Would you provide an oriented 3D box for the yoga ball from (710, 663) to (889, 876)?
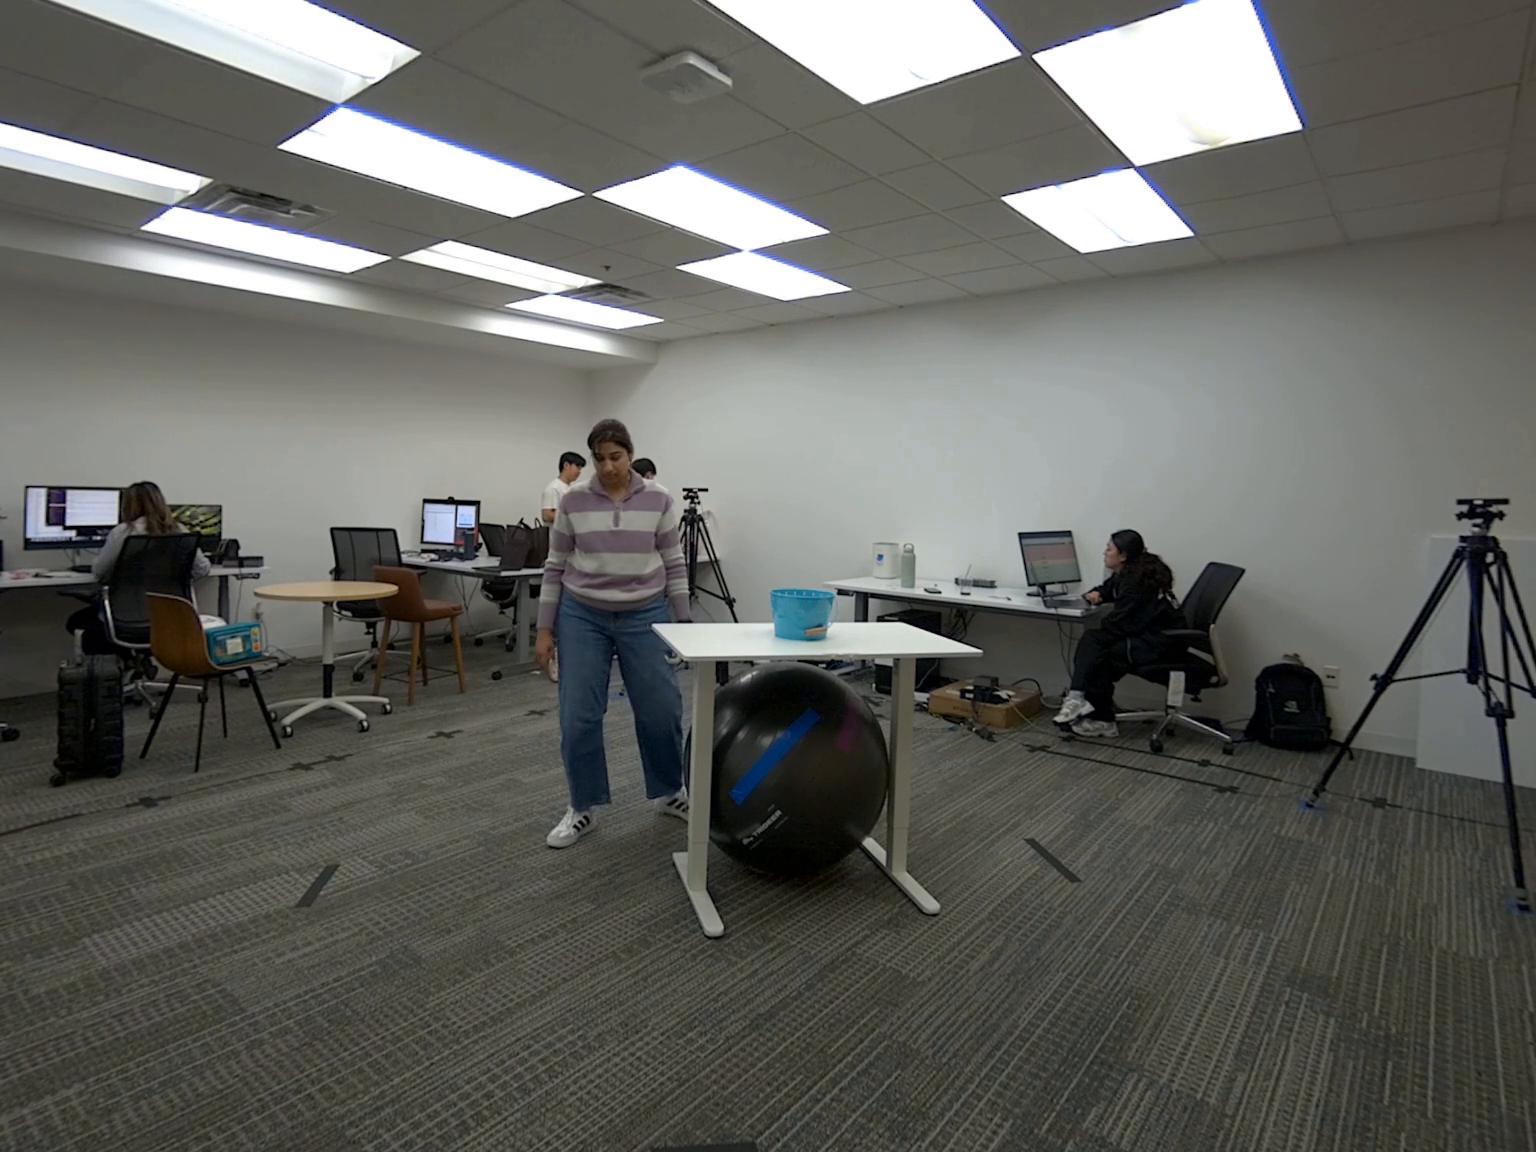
[{"bbox_3d":[0.073,0.708,3.155,0.757,0.755,0.762,1,4,-2],"label":"yoga ball"}]
